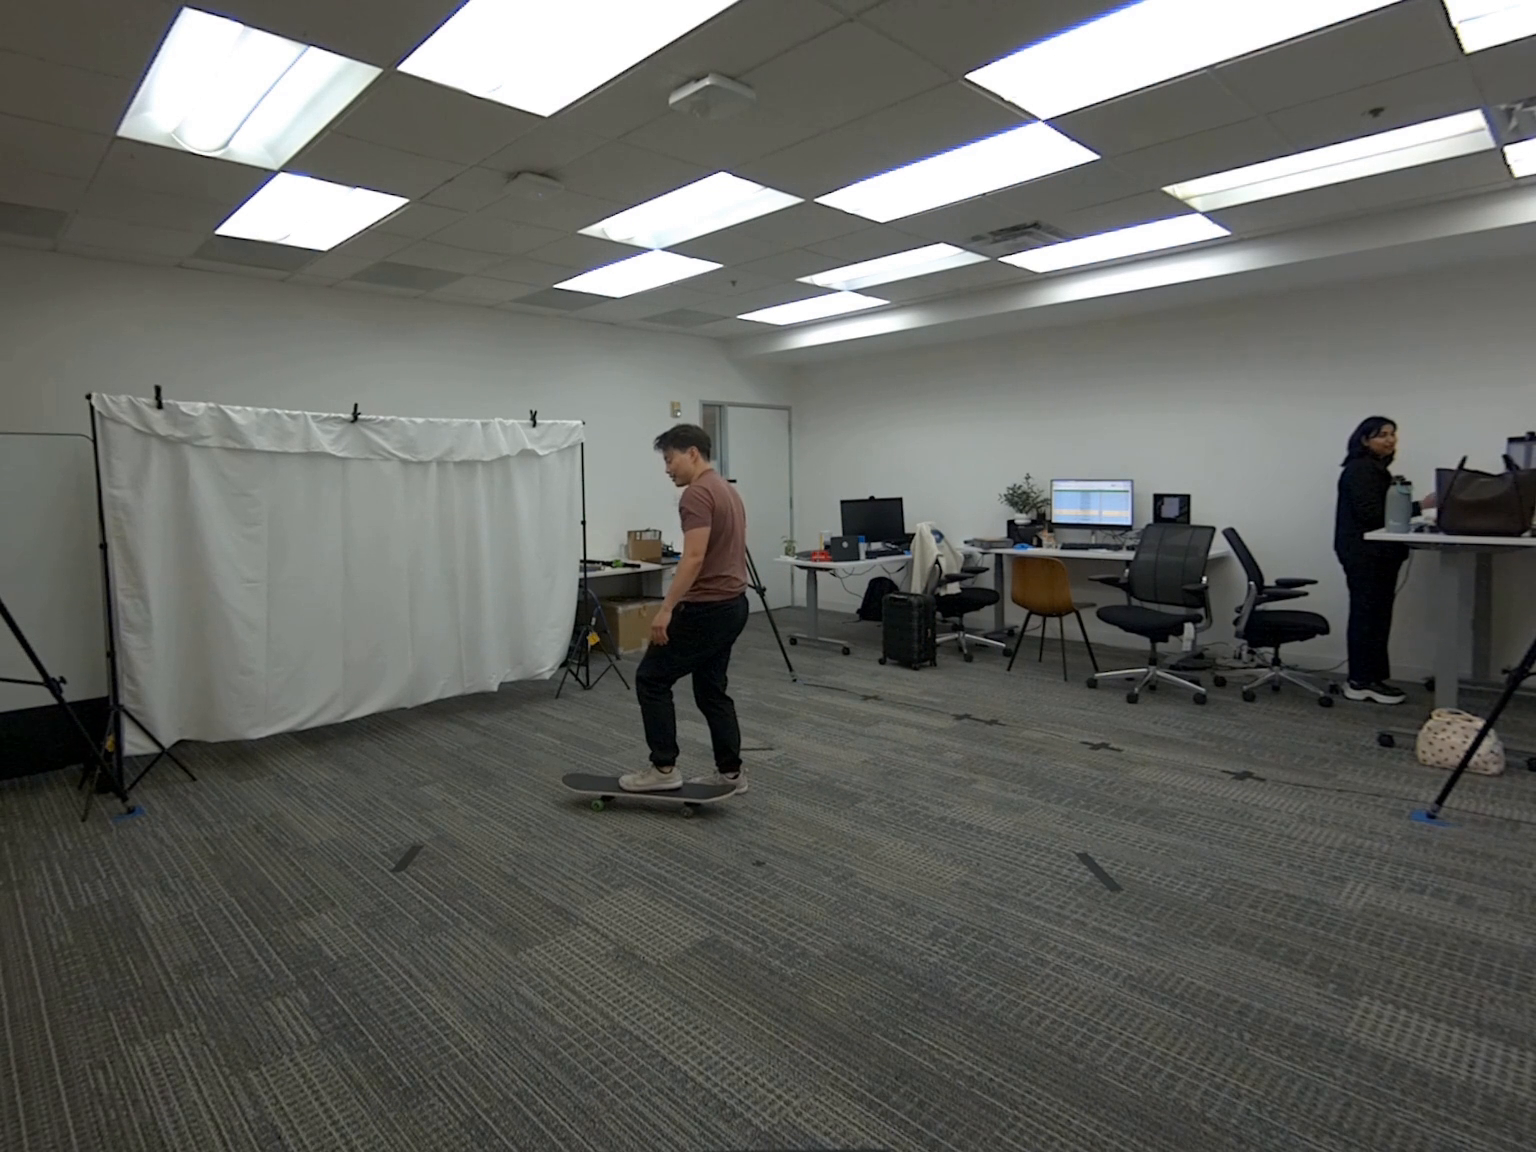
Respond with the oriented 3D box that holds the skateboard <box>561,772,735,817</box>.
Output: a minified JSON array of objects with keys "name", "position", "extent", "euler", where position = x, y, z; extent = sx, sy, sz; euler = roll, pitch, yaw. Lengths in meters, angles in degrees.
[{"name":"skateboard","position":[-0.502,0.939,3.667],"extent":[0.797,0.110,0.191],"euler":[1,6,15]}]
